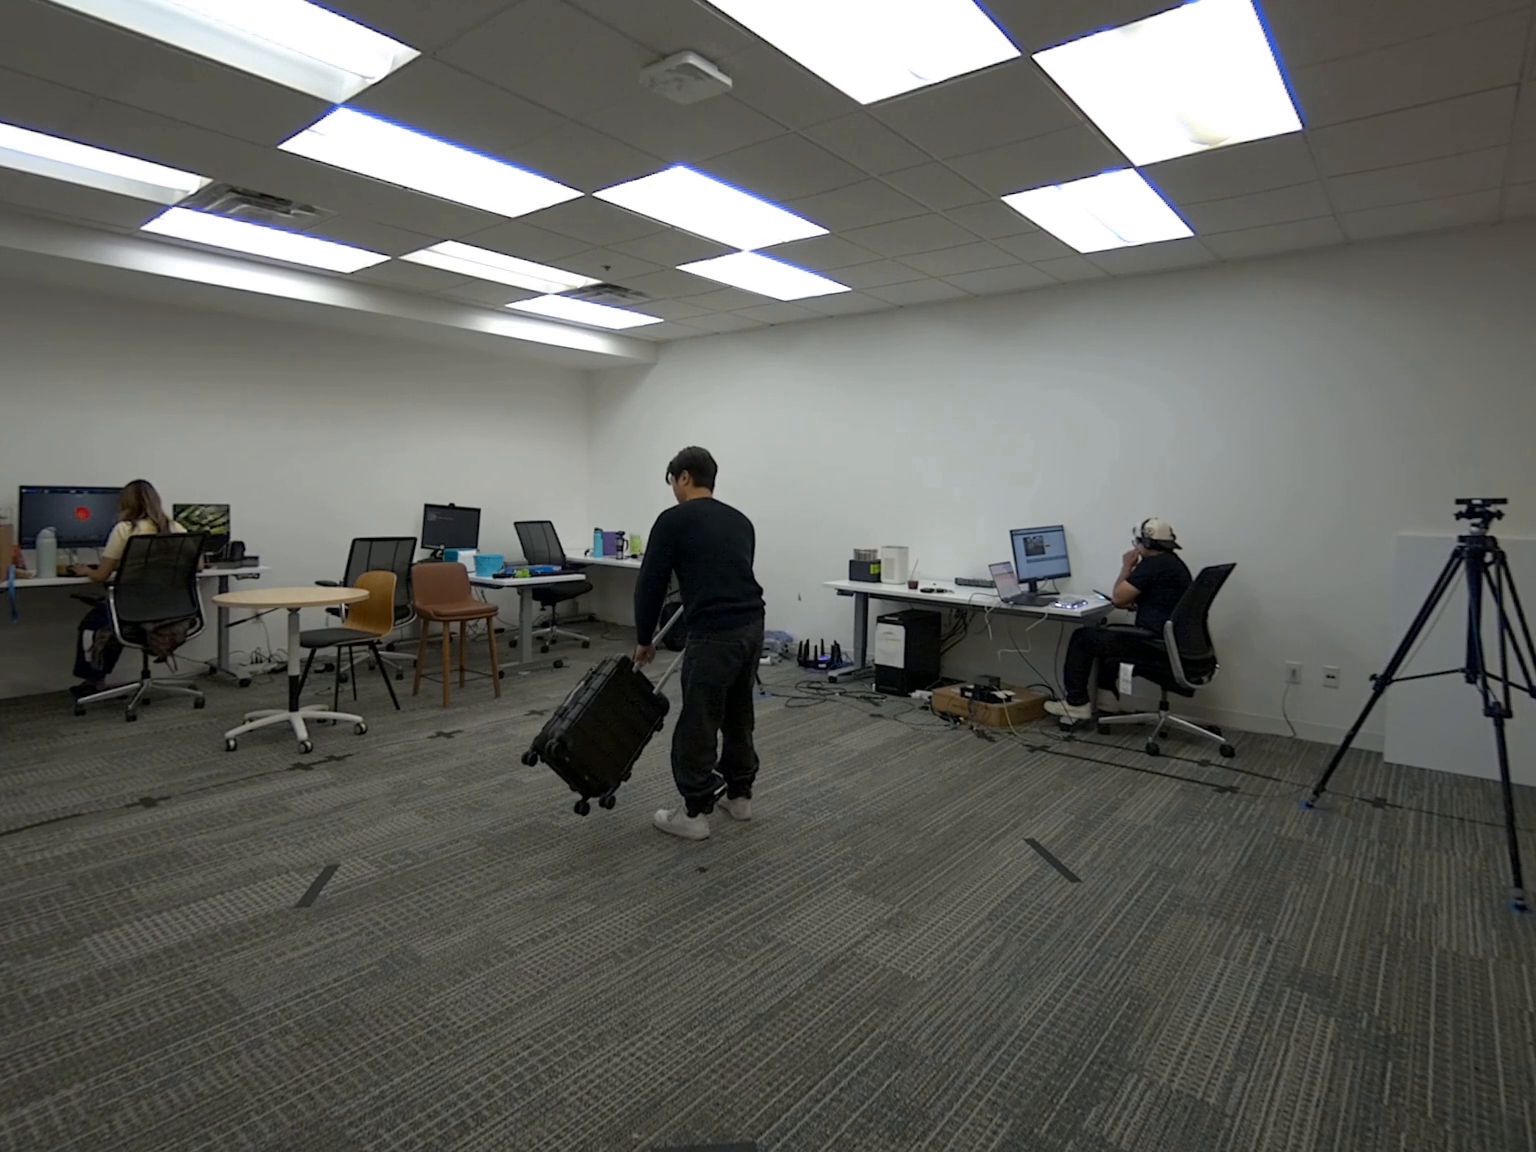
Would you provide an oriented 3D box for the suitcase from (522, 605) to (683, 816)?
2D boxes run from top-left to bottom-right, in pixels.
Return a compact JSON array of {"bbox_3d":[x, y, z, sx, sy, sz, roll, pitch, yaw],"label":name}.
[{"bbox_3d":[-0.604,0.483,3.563,0.260,0.377,0.983,-30,19,44],"label":"suitcase"}]
